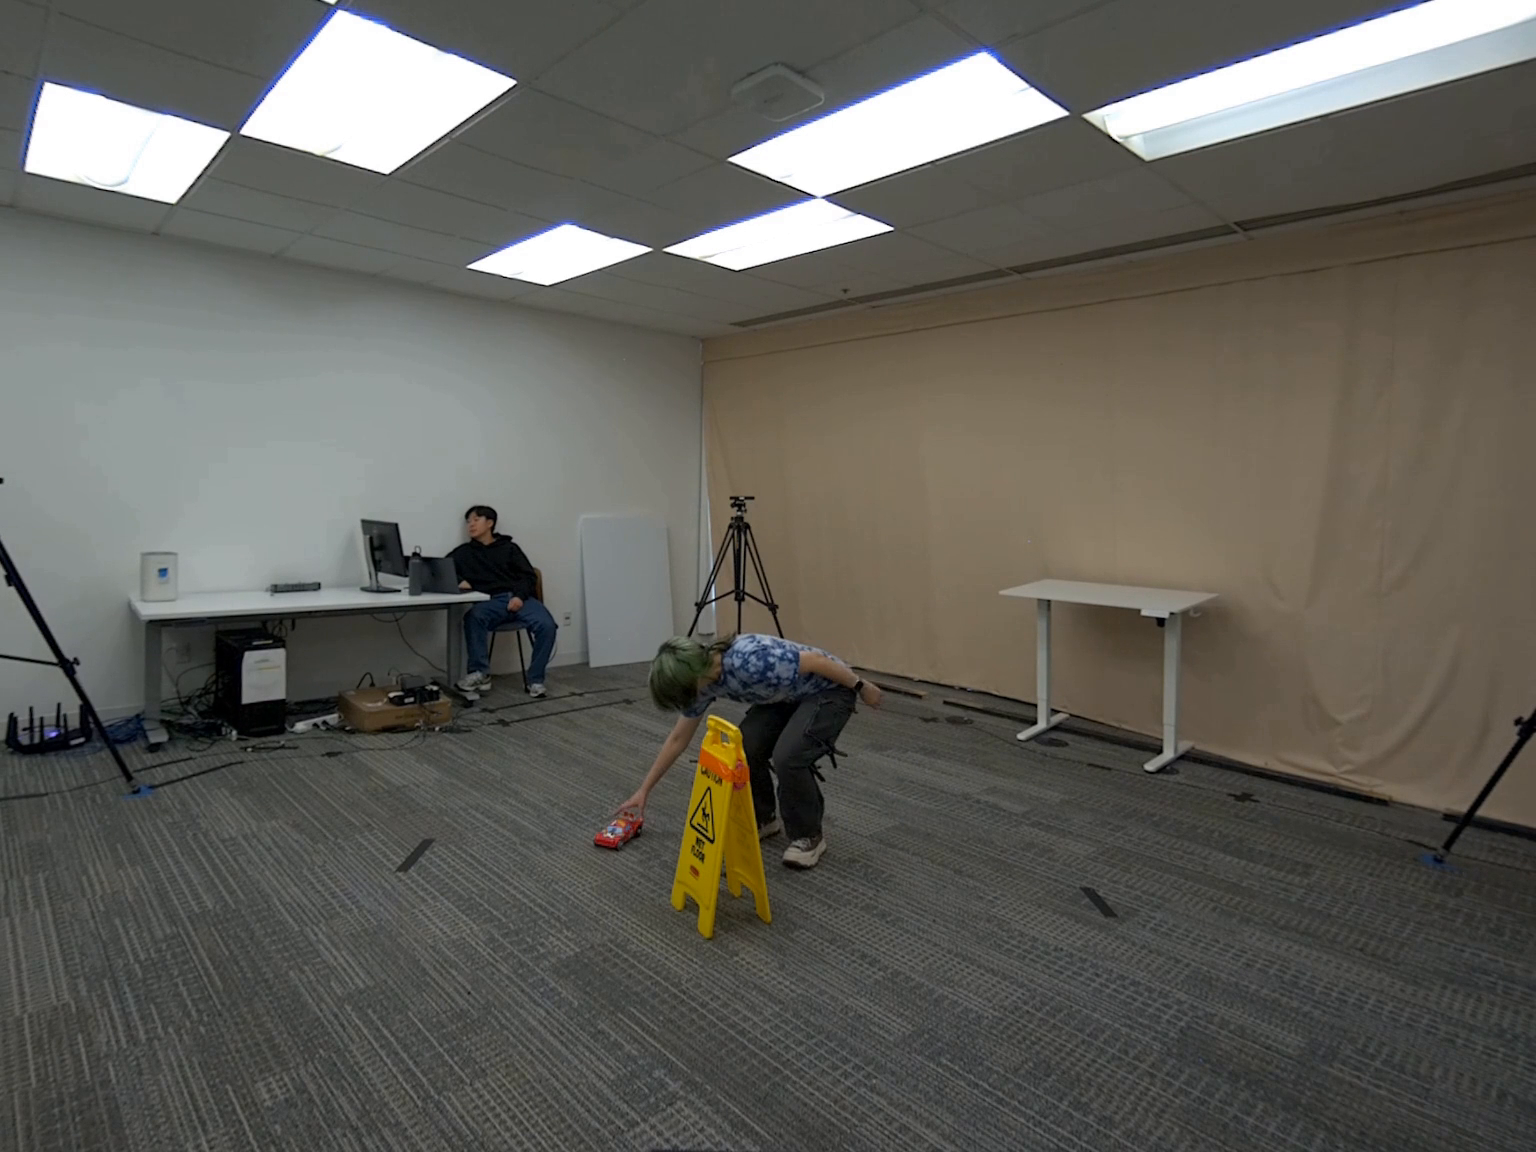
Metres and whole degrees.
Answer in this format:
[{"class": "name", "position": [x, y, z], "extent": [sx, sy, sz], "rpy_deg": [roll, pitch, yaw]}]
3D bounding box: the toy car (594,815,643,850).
[{"class": "toy car", "position": [-0.599, 1.030, 3.406], "extent": [0.132, 0.082, 0.253], "rpy_deg": [2, 16, 23]}]
